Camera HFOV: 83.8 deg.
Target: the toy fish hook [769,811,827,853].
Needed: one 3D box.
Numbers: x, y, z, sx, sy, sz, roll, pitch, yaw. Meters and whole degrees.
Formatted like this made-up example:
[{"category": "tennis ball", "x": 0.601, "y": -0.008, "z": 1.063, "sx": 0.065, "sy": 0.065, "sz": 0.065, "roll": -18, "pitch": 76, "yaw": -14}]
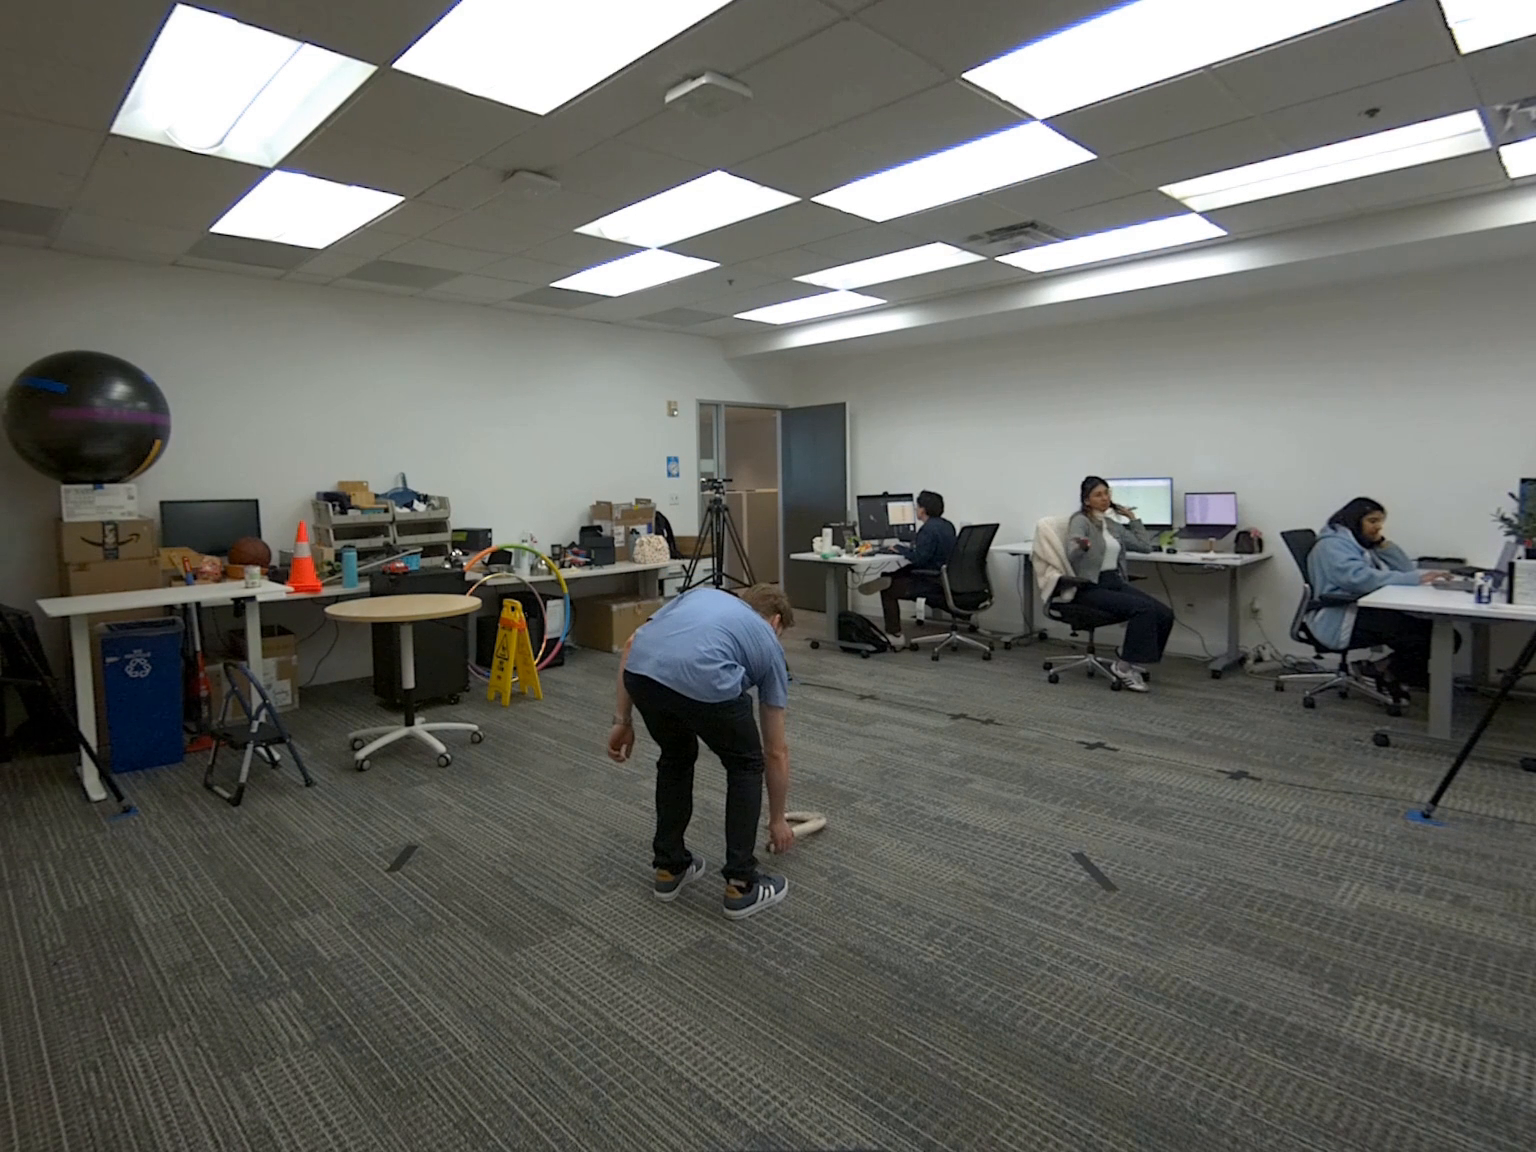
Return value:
[{"category": "toy fish hook", "x": 0.063, "y": 0.983, "z": 3.297, "sx": 0.229, "sy": 0.048, "sz": 0.494, "roll": -7, "pitch": -4, "yaw": 25}]
